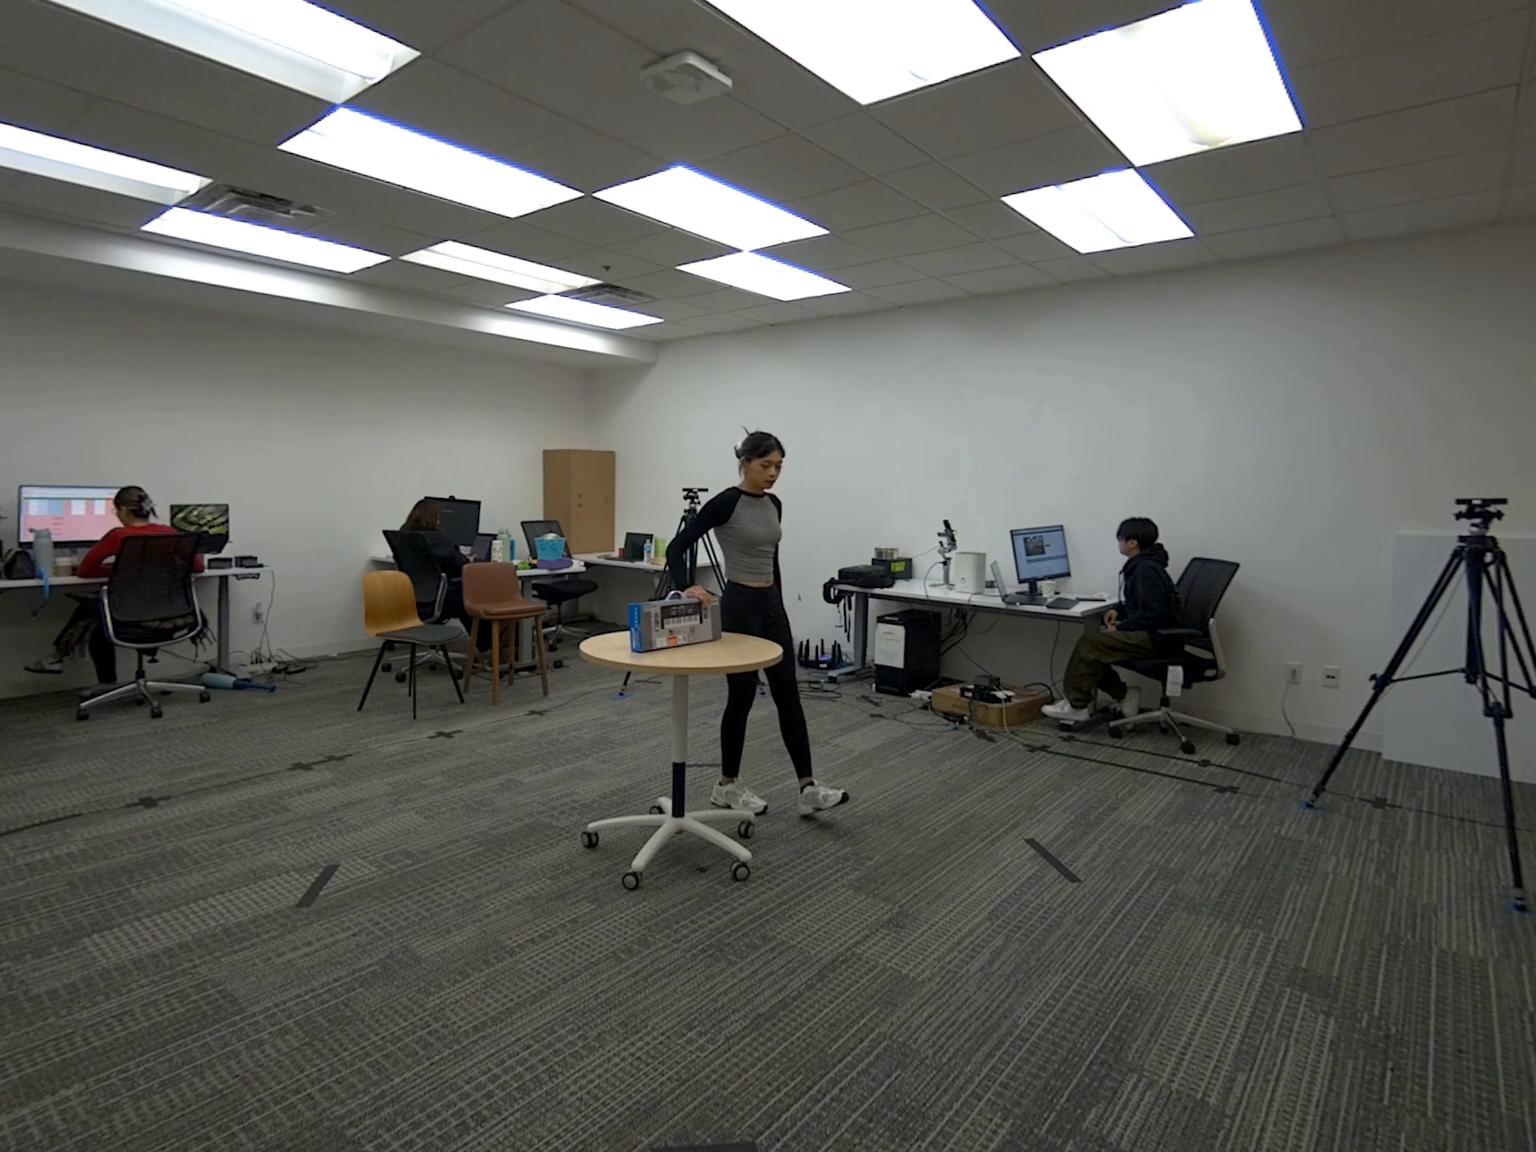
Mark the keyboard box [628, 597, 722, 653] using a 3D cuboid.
[{"bbox_3d":[-0.356,0.176,3.233,0.061,0.176,0.424,-4,0,40],"label":"keyboard box"}]
